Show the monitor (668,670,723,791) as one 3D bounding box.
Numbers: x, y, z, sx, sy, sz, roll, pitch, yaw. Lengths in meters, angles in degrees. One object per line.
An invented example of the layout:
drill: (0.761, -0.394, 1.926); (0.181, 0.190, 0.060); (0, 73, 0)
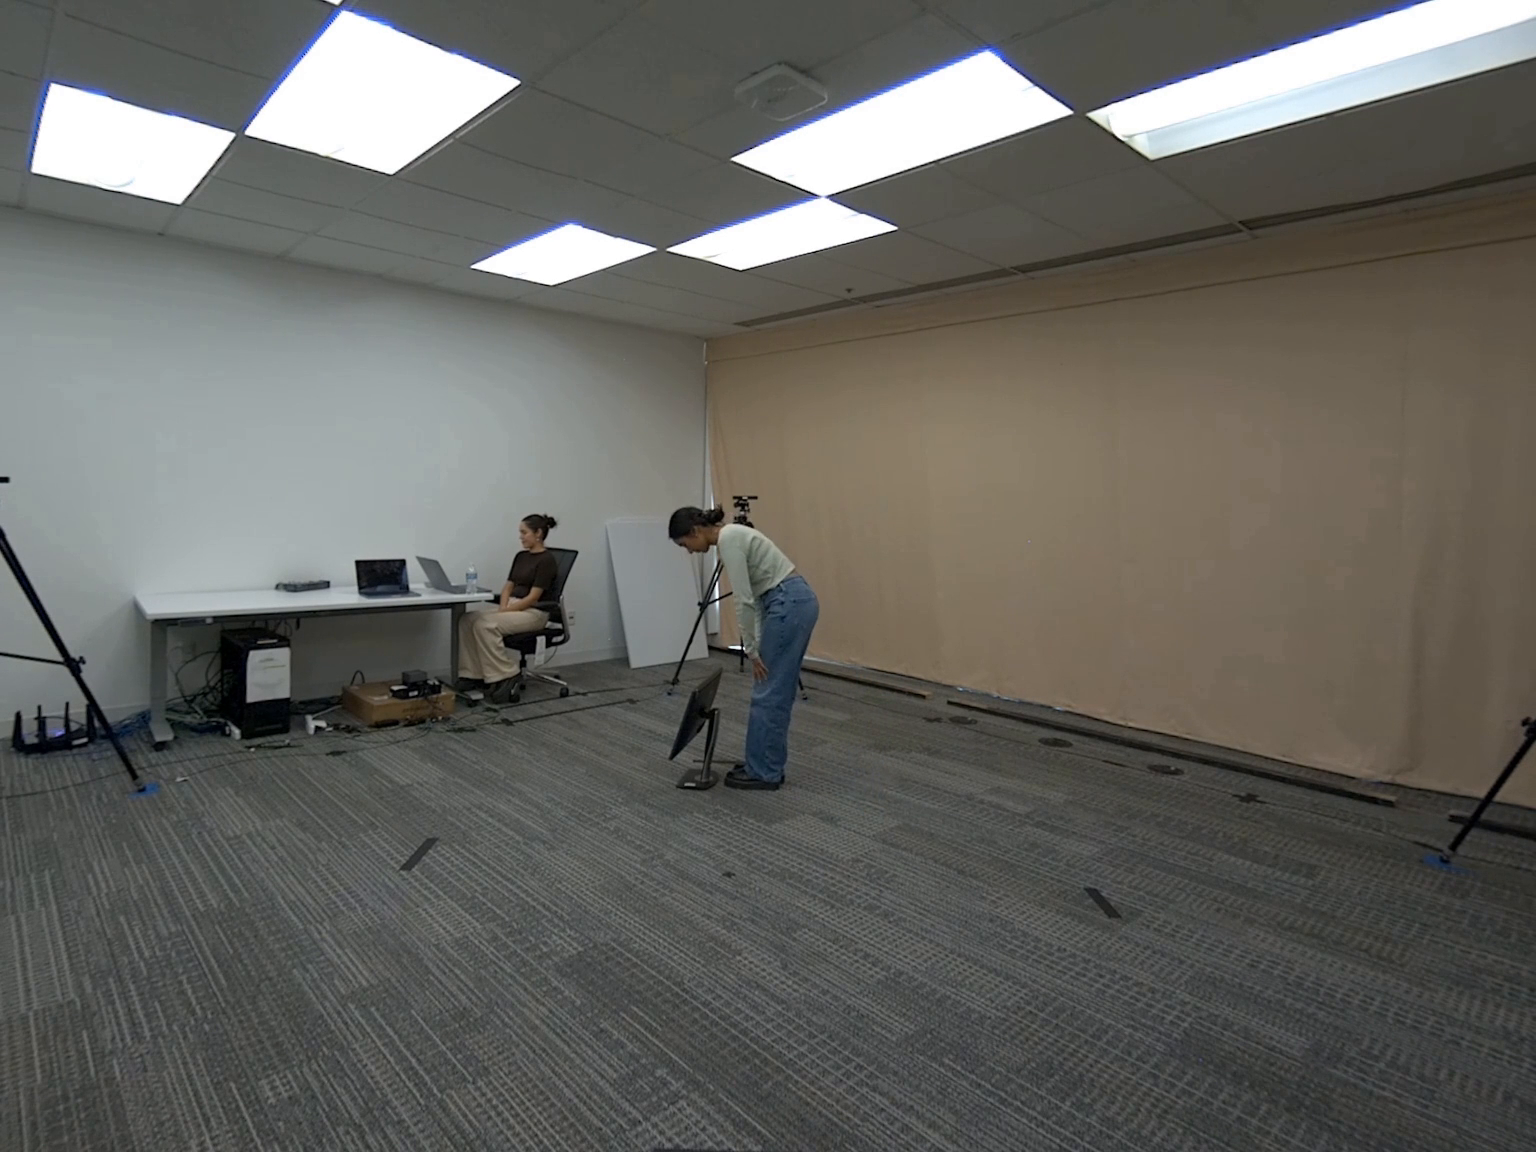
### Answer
monitor: (-0.334, 0.742, 4.134); (0.176, 0.514, 0.527); (1, 5, 10)
